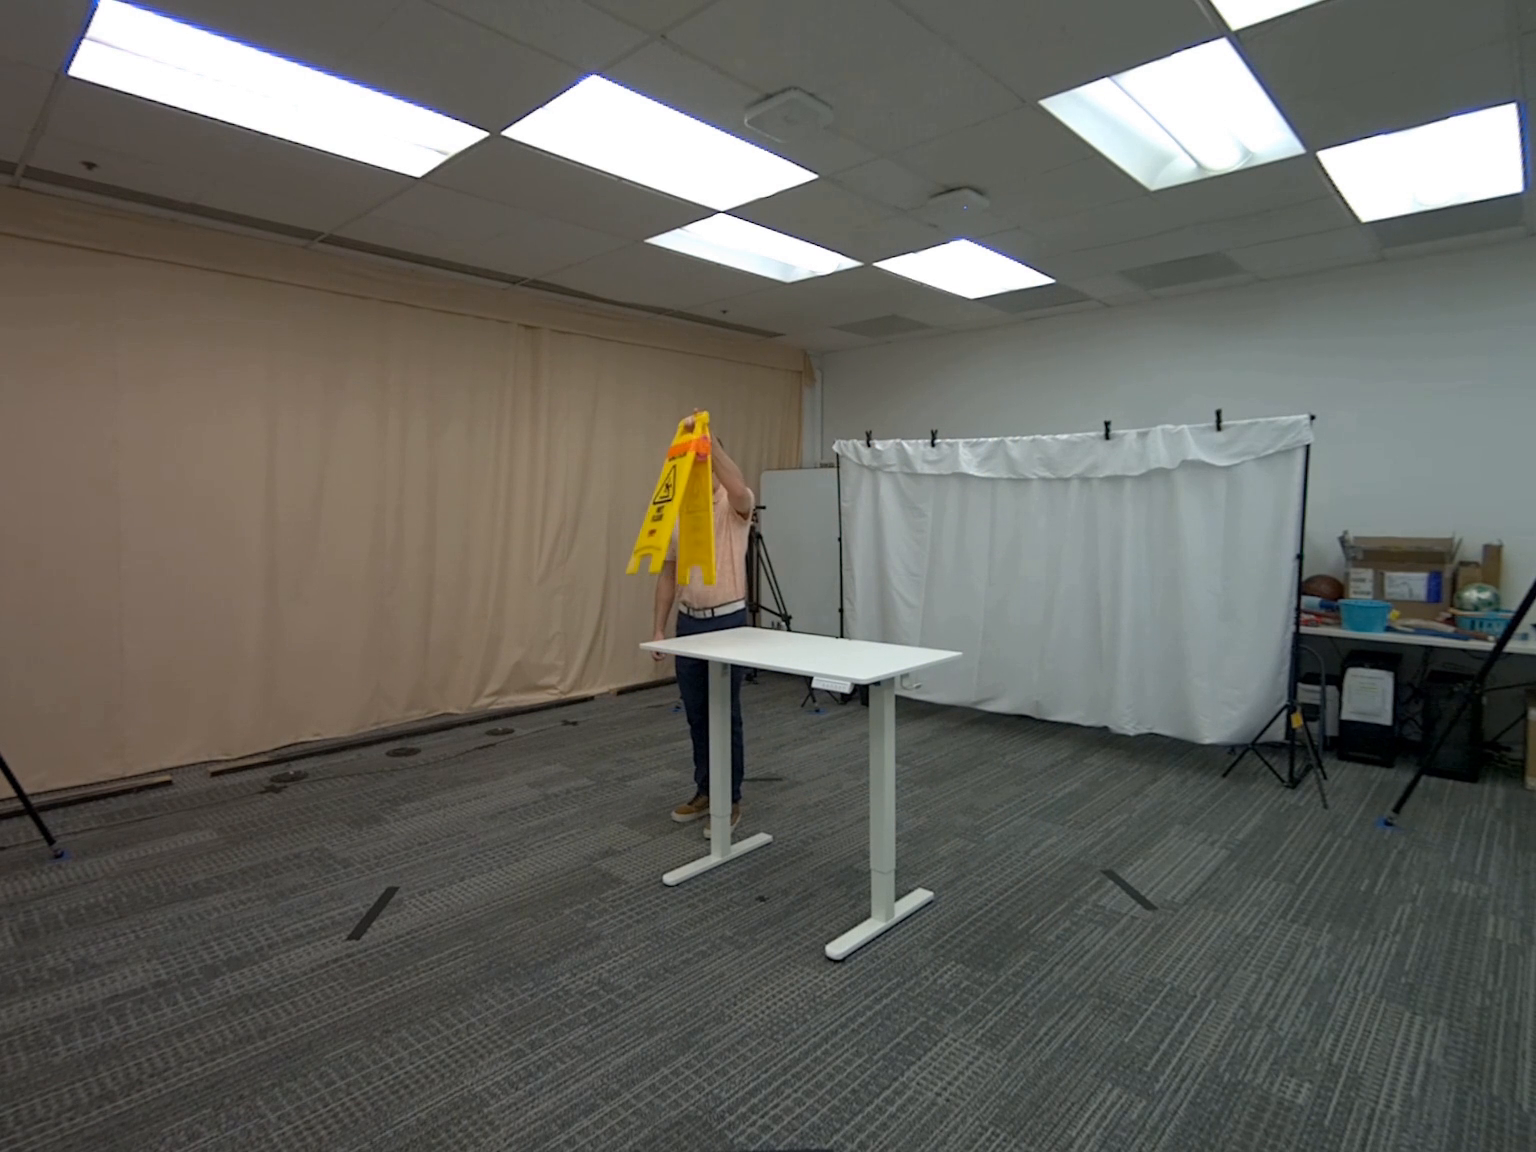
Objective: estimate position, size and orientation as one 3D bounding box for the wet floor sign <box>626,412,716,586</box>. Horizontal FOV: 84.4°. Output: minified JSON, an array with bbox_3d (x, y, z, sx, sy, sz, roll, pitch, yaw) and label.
[{"bbox_3d":[-0.325,-0.295,3.243,0.281,0.648,0.289,11,-8,-30],"label":"wet floor sign"}]
